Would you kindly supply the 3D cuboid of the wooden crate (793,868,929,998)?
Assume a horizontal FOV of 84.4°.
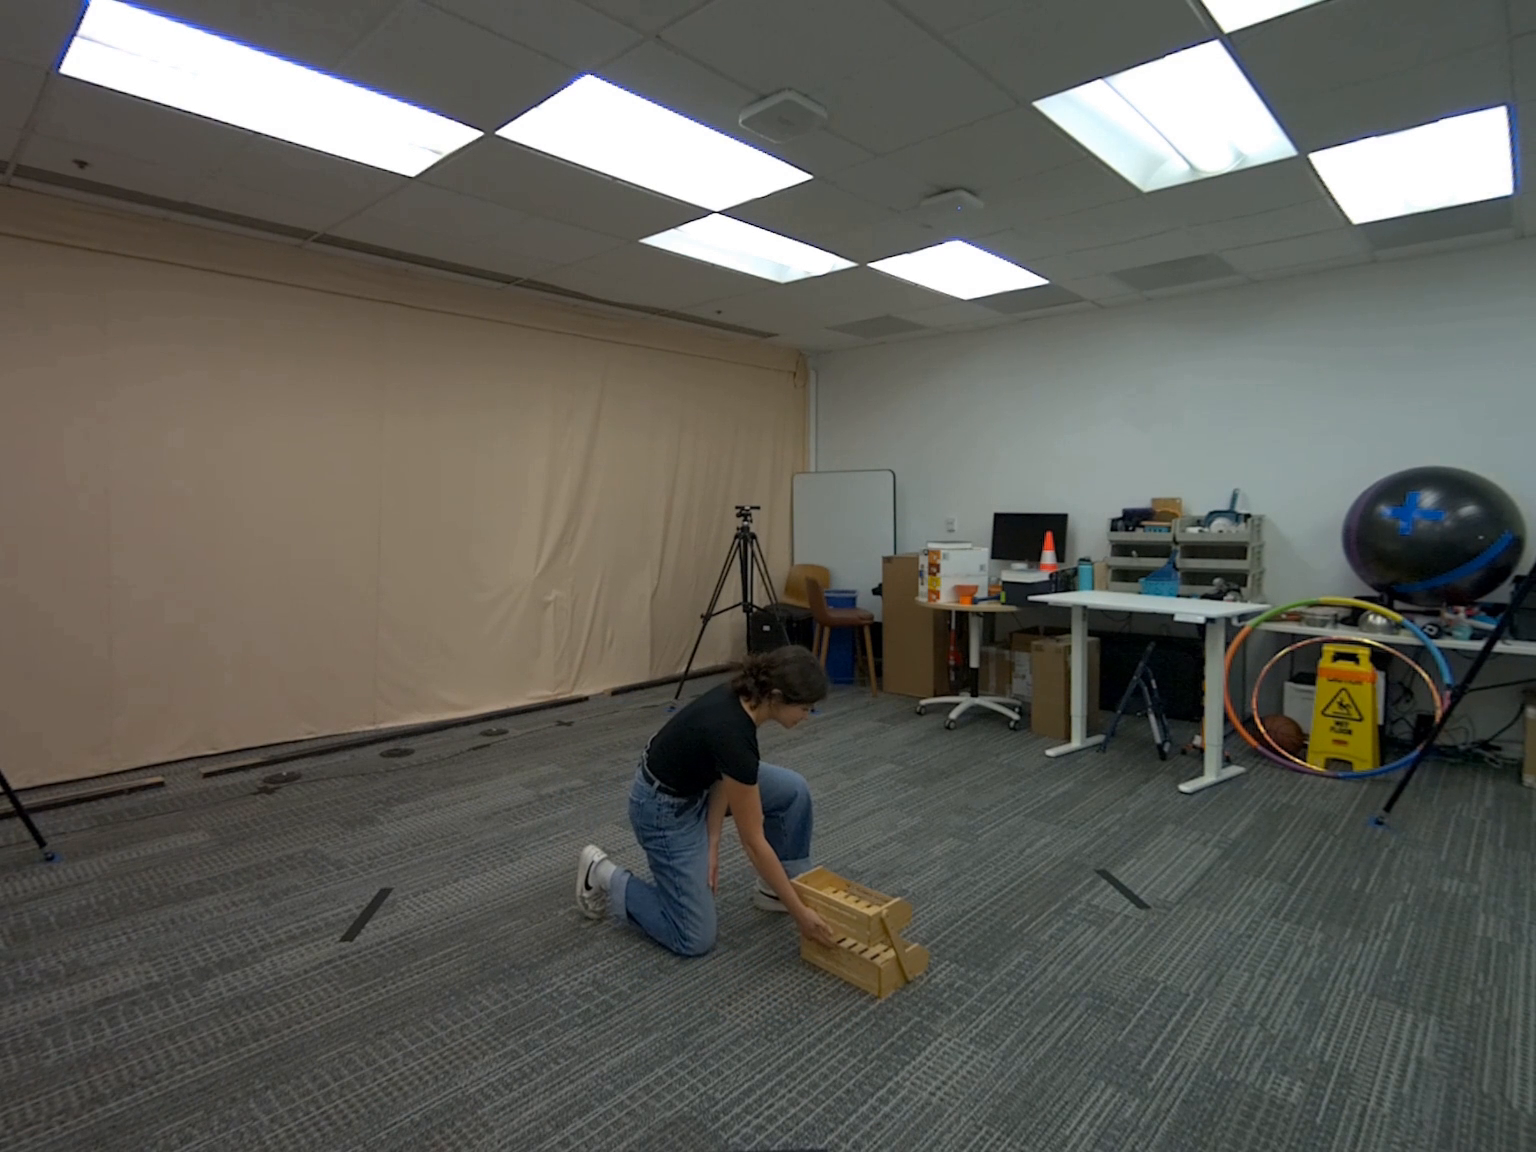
[{"bbox_3d":[0.284,1.050,2.539,0.335,0.273,0.293,3,6,44],"label":"wooden crate"}]
